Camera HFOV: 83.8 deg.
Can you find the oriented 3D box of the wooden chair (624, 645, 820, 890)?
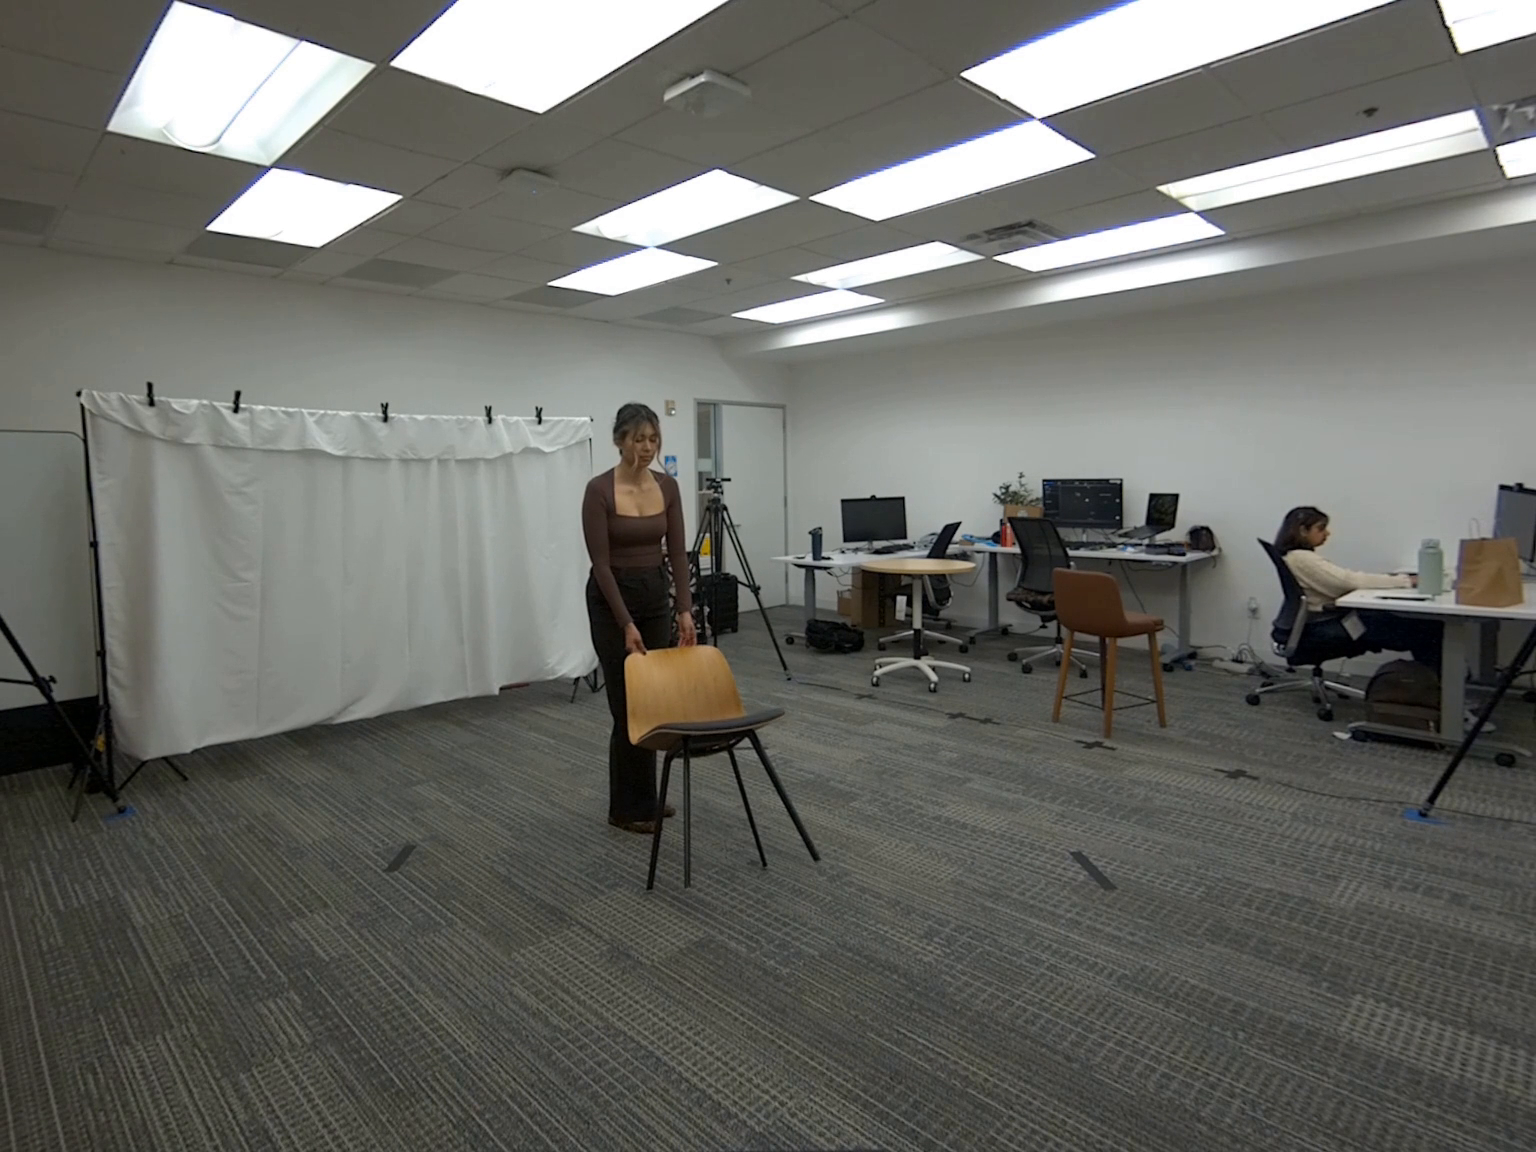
[{"bbox_3d":[-0.203,0.578,2.926,0.469,0.899,0.521,-3,-25,-23],"label":"wooden chair"}]
